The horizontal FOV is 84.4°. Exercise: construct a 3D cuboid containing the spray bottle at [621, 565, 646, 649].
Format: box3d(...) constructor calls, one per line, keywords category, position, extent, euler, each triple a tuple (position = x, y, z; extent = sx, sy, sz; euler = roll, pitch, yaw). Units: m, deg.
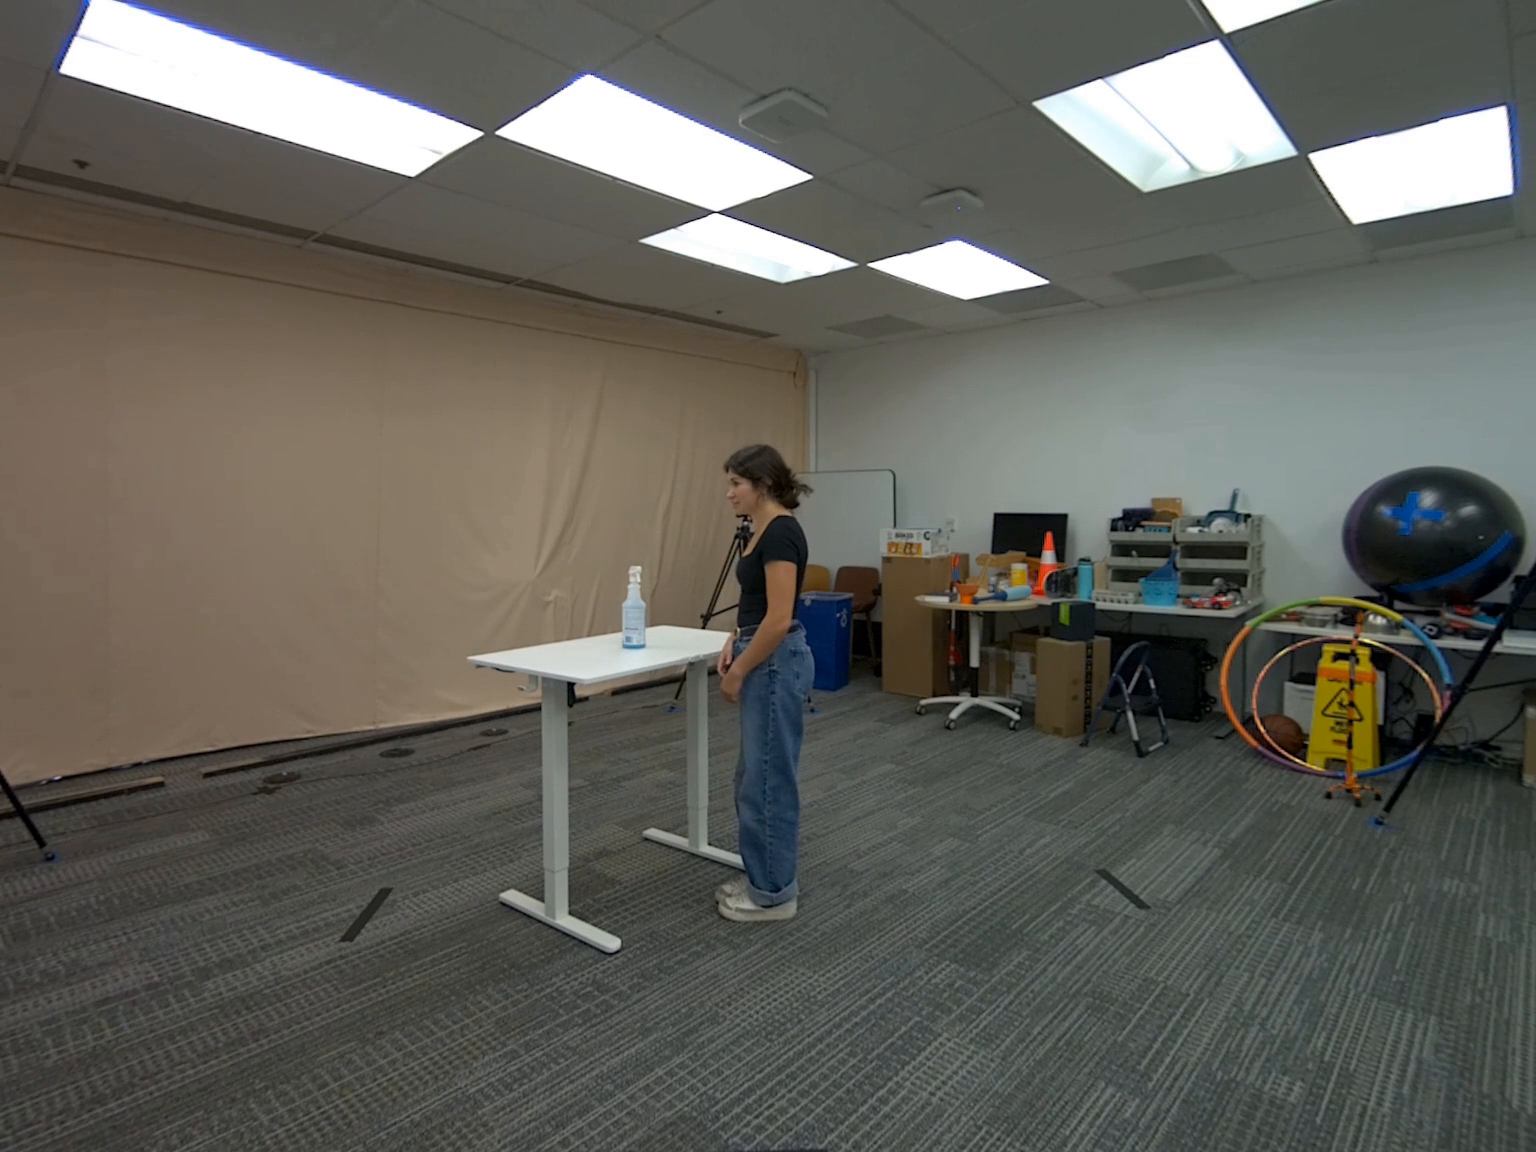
box3d(category="spray bottle", position=(-0.486, 0.116, 3.071), extent=(0.087, 0.297, 0.090), euler=(0, 2, -3))
